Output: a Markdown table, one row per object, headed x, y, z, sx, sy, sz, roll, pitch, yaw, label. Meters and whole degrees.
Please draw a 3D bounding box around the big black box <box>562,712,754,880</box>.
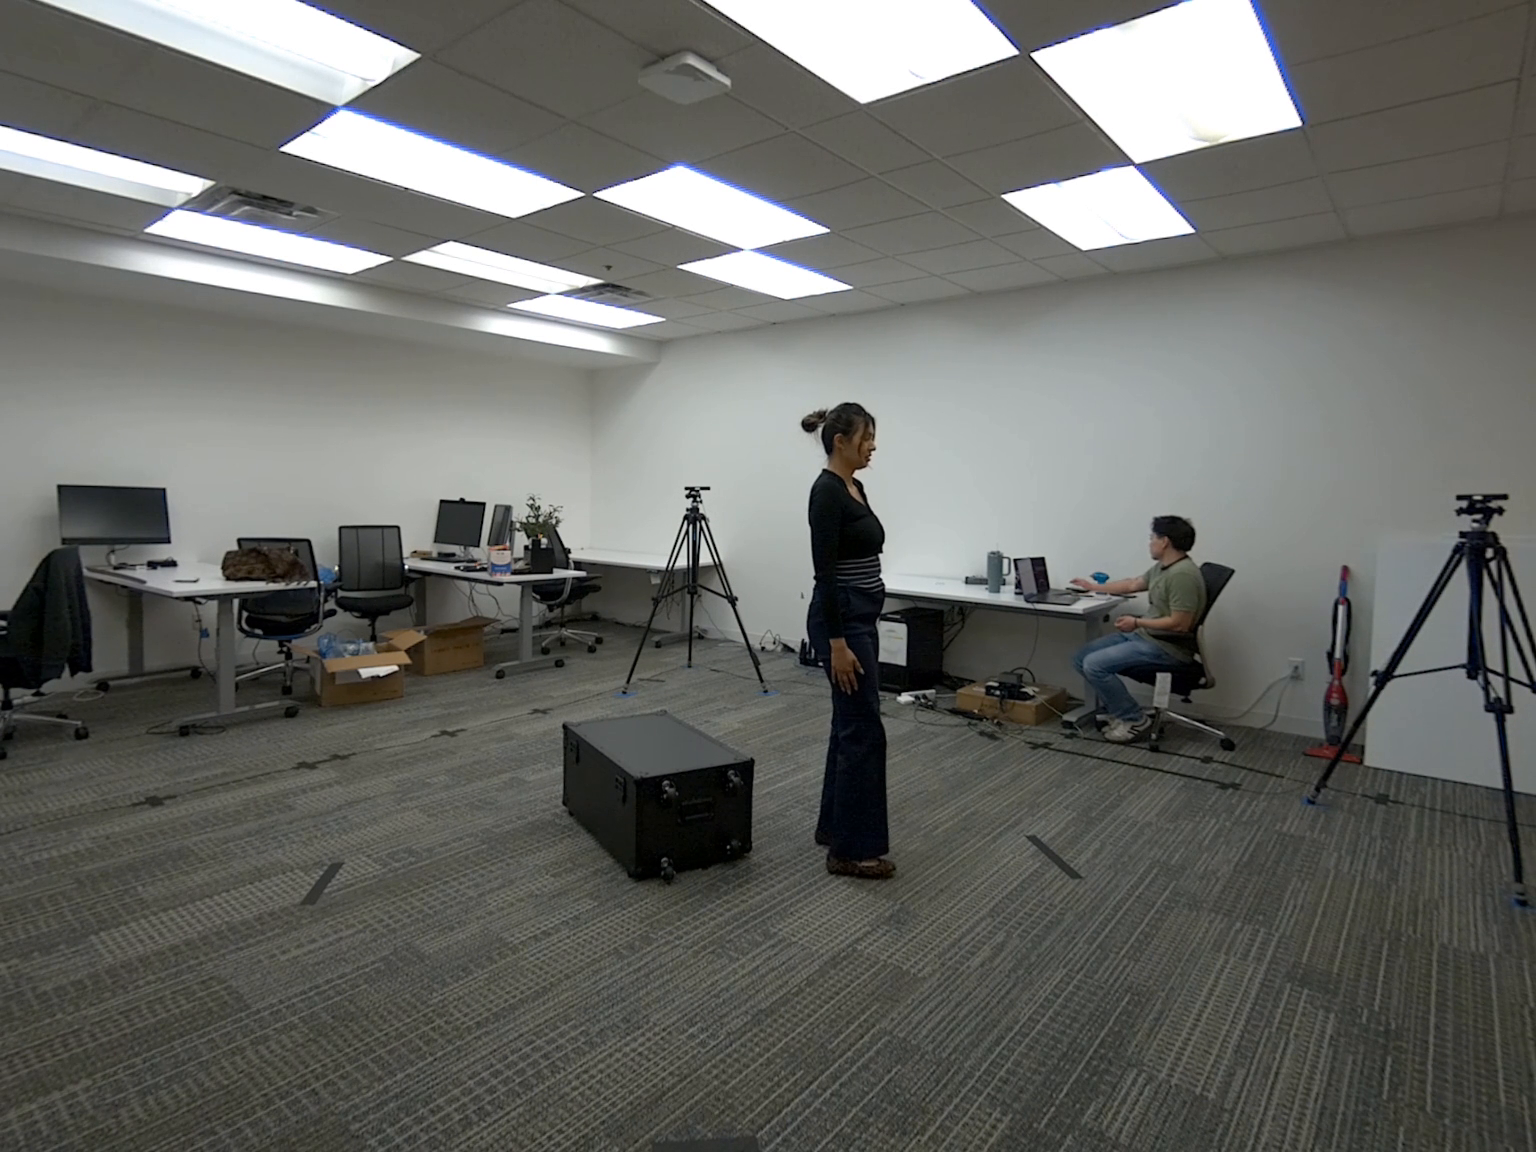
| x | y | z | sx | sy | sz | roll | pitch | yaw | label |
| --- | --- | --- | --- | --- | --- | --- | --- | --- | --- |
| -0.493 | 0.840 | 3.440 | 0.507 | 0.395 | 0.889 | -1 | 6 | -31 | big black box |
